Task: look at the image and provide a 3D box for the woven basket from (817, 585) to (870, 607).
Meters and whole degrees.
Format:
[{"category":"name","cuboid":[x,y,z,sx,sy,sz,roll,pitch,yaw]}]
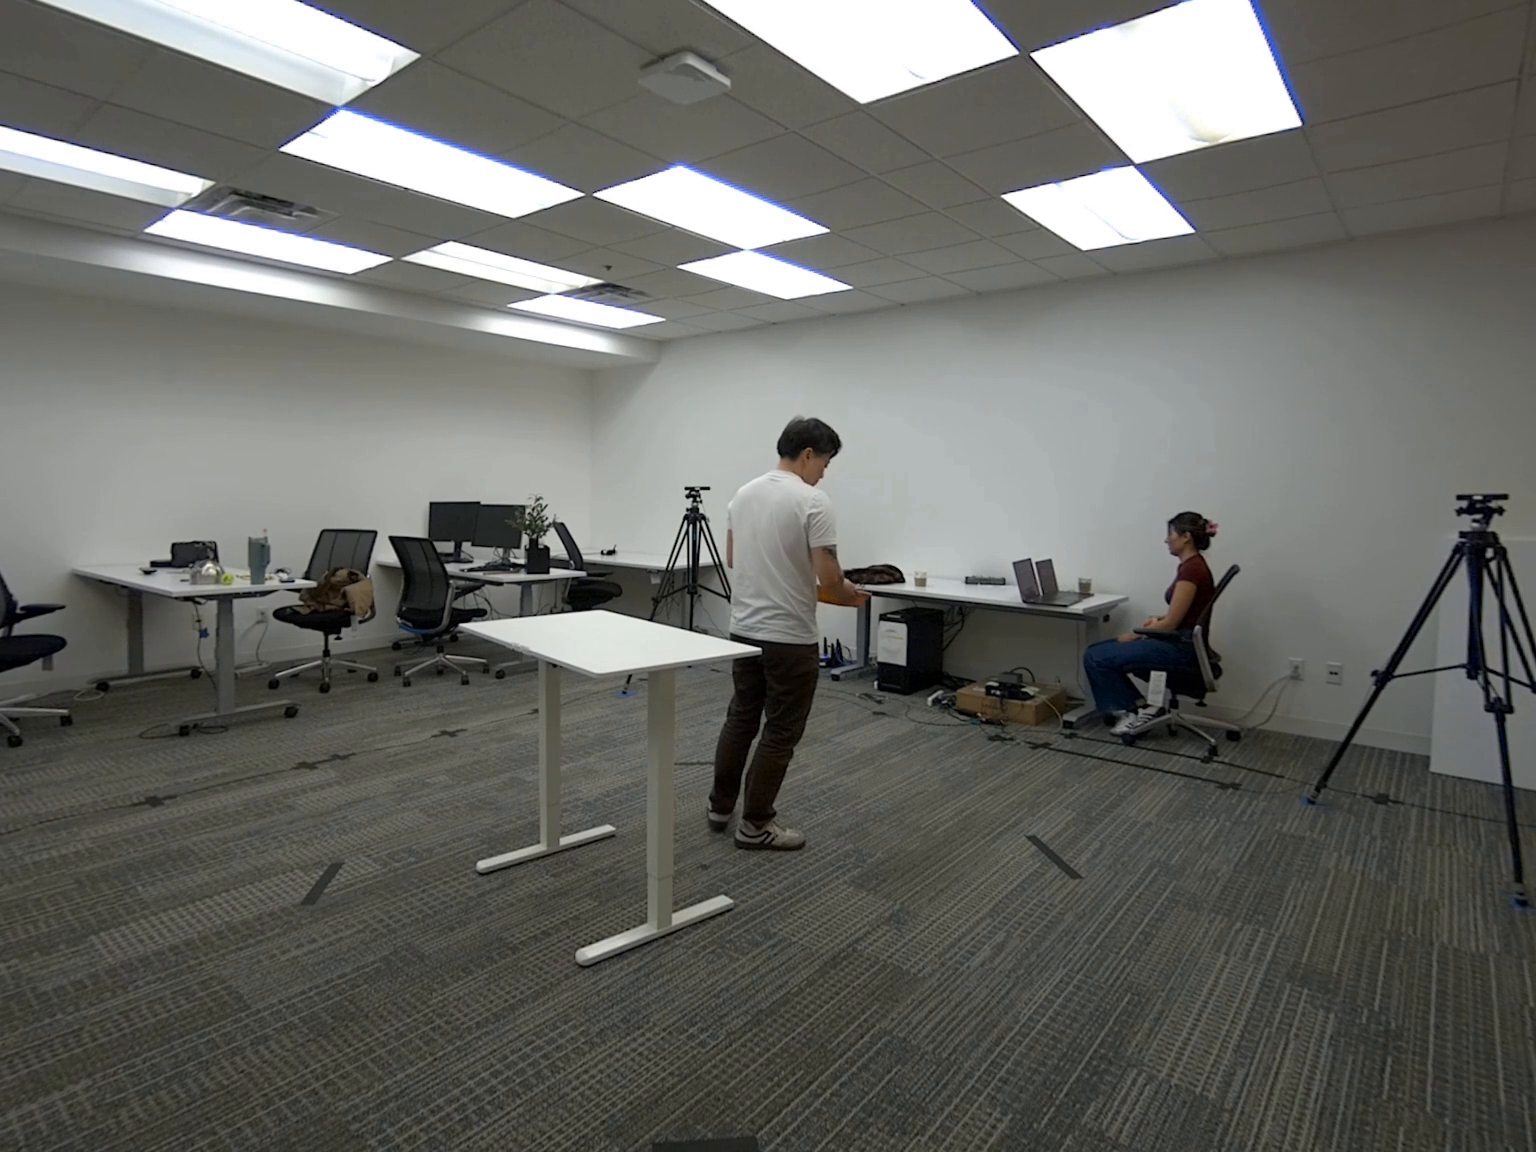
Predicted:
[{"category":"woven basket","cuboid":[0.270,0.083,3.544,0.338,0.073,0.261,8,-1,-44]}]
